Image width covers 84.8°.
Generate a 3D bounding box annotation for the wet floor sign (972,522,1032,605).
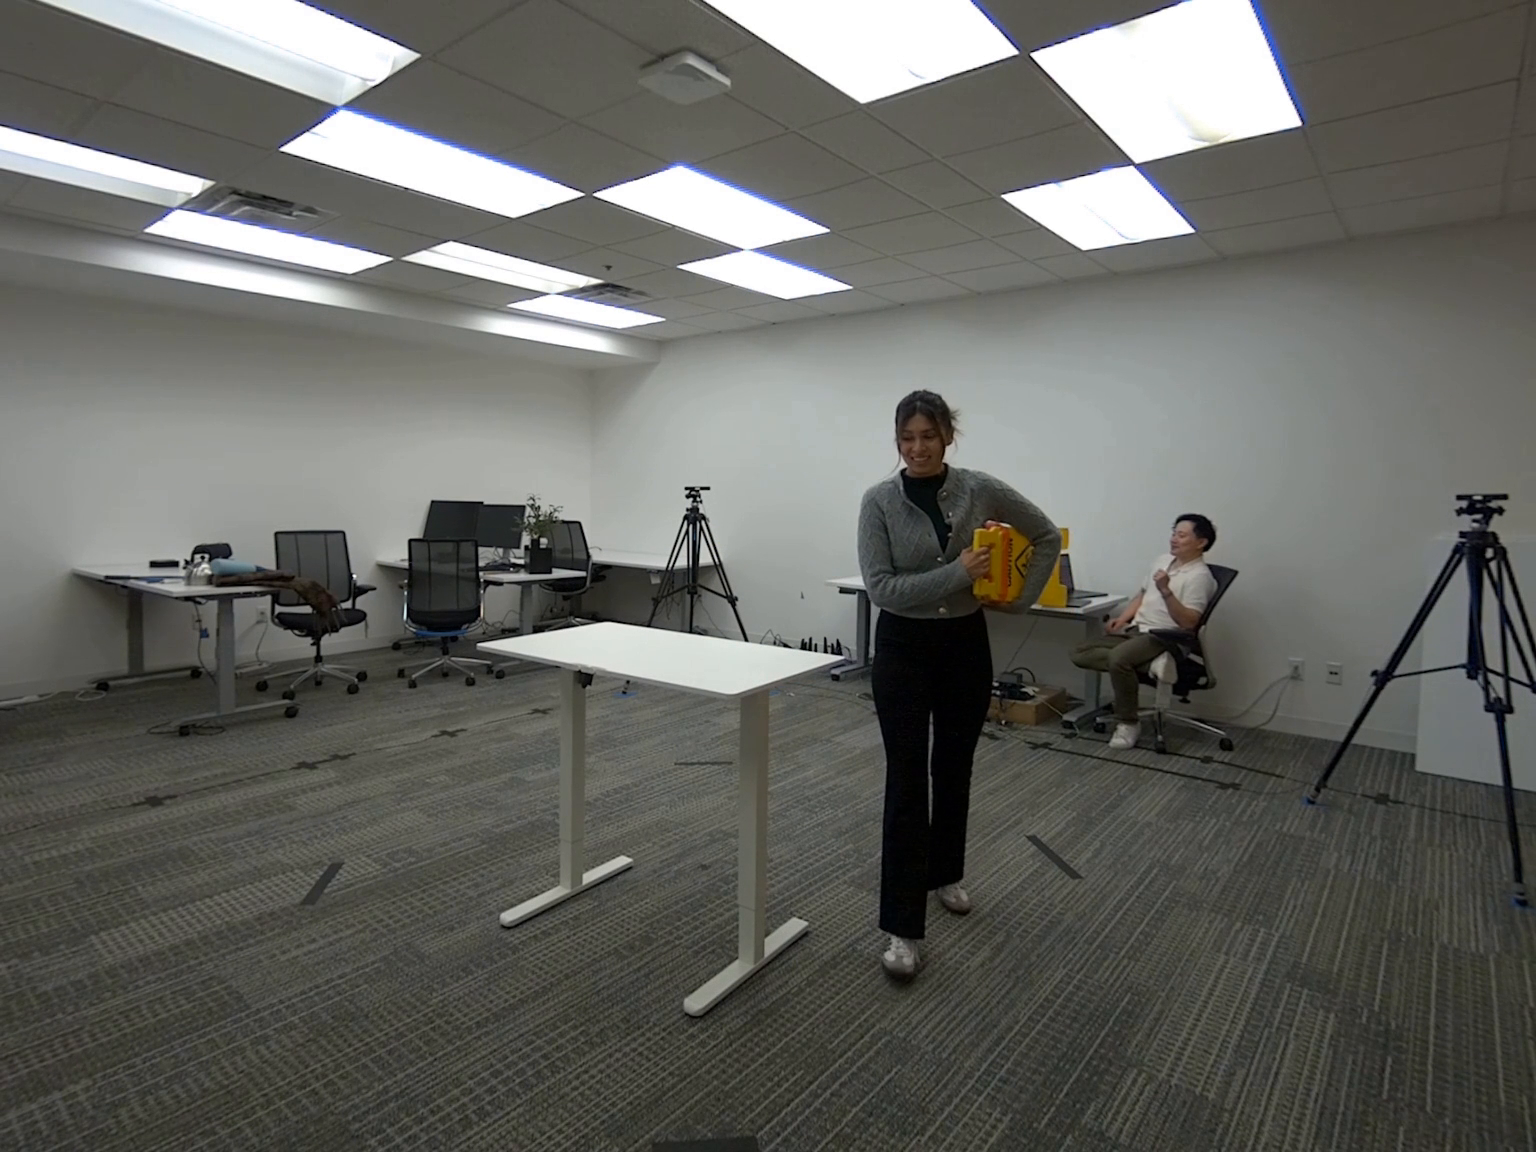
[{"bbox_3d":[0.776,-0.039,2.793,0.298,0.282,0.628,2,0,27],"label":"wet floor sign"}]
